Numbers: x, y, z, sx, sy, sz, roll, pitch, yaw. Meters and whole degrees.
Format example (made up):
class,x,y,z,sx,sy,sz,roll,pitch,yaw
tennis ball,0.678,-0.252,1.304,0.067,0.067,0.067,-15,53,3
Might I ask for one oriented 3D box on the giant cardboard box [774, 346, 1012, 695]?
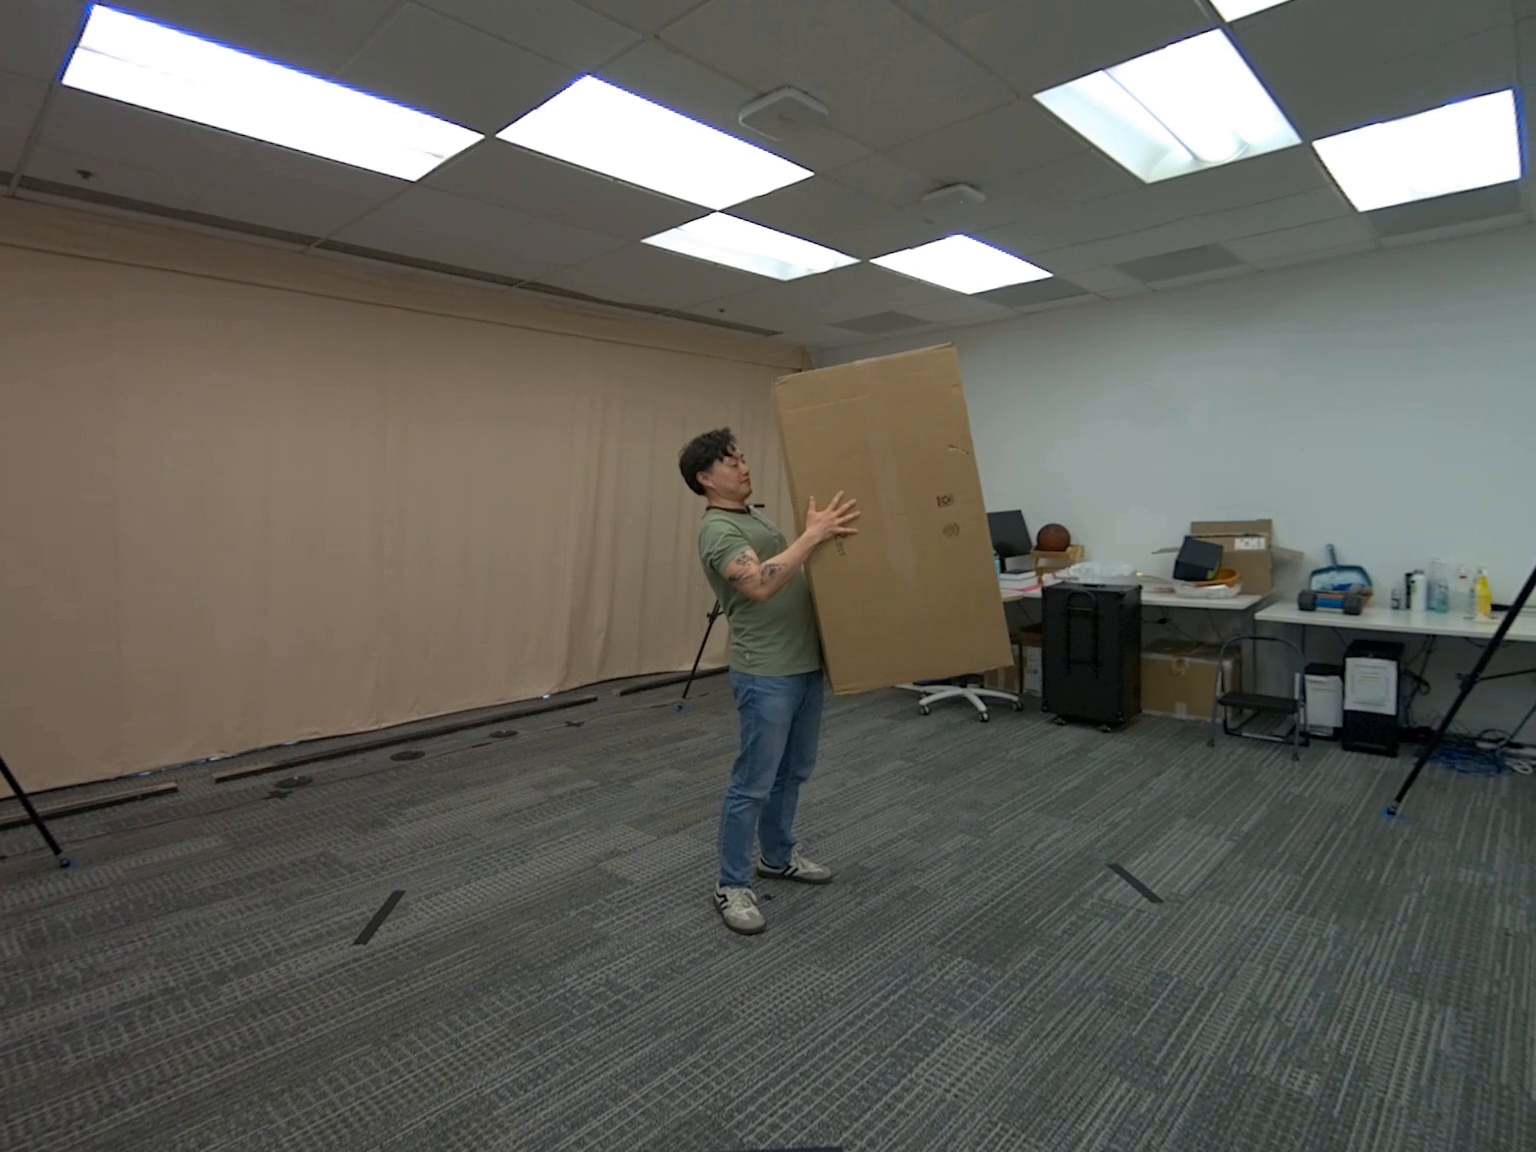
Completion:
class,x,y,z,sx,sy,sz,roll,pitch,yaw
giant cardboard box,0.398,-0.185,2.833,0.579,1.023,0.426,-11,4,2
